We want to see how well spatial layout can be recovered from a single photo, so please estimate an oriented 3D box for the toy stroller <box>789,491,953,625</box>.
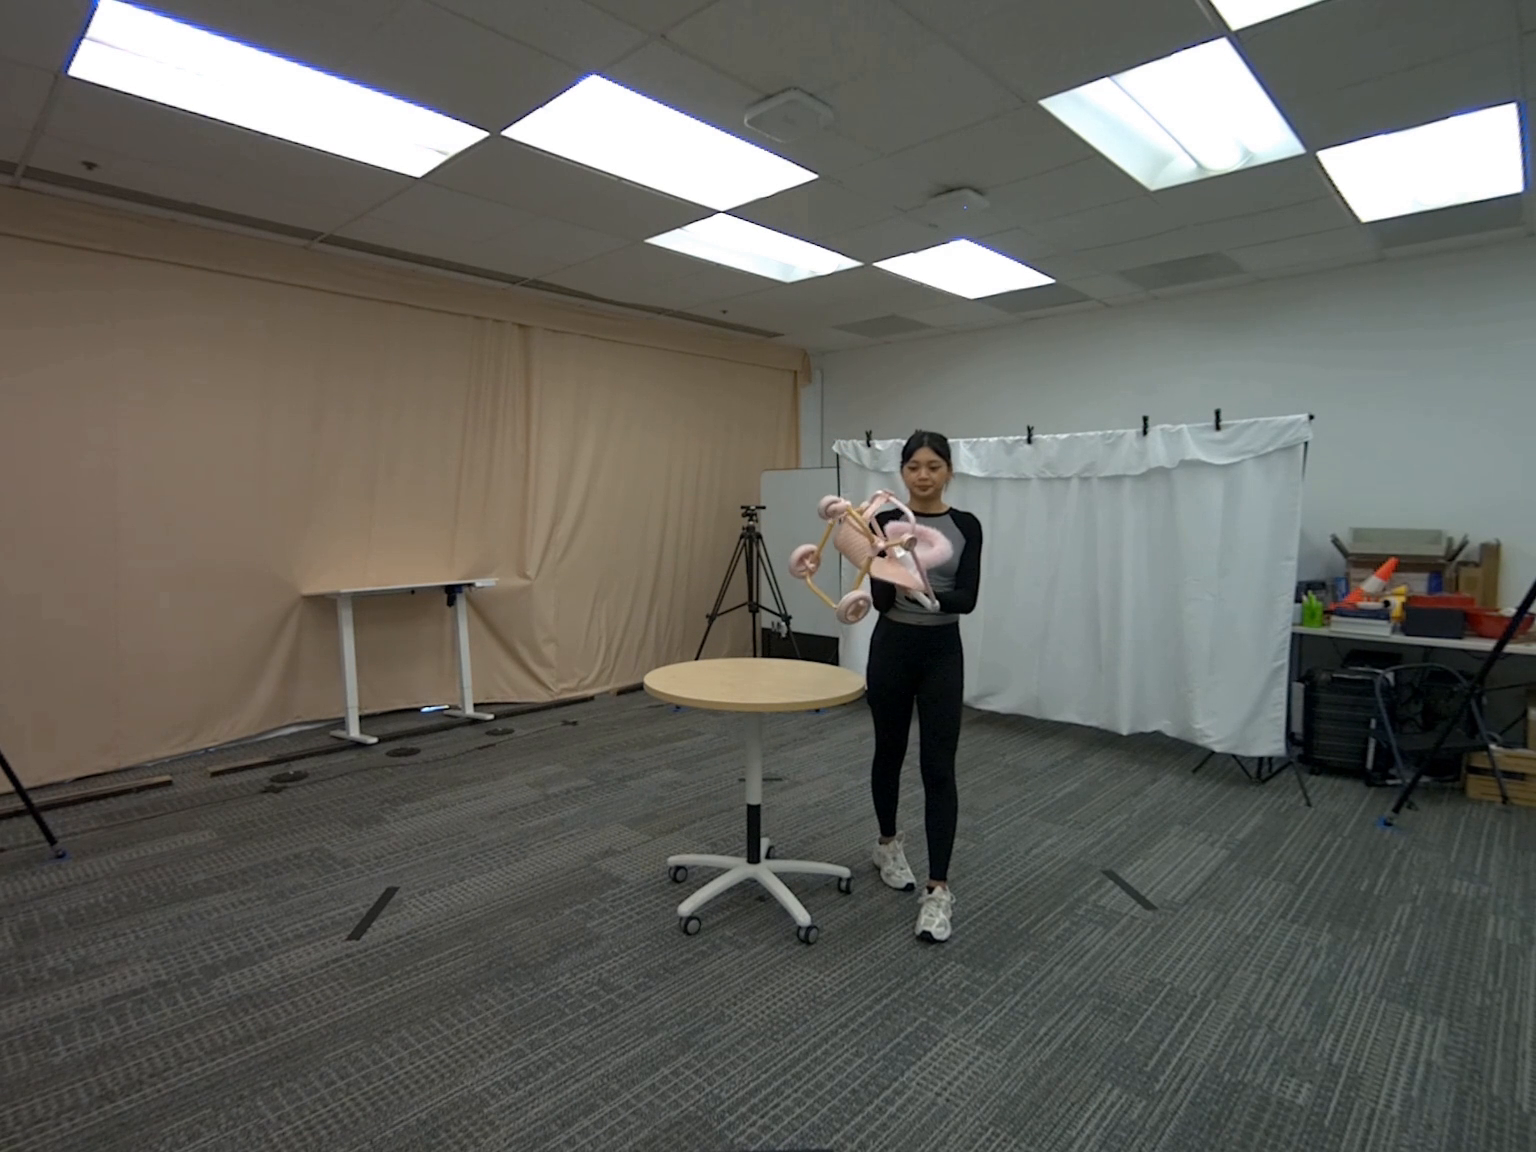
[{"bbox_3d":[0.321,-0.073,2.418,0.520,0.339,0.291,-1,25,-32],"label":"toy stroller"}]
